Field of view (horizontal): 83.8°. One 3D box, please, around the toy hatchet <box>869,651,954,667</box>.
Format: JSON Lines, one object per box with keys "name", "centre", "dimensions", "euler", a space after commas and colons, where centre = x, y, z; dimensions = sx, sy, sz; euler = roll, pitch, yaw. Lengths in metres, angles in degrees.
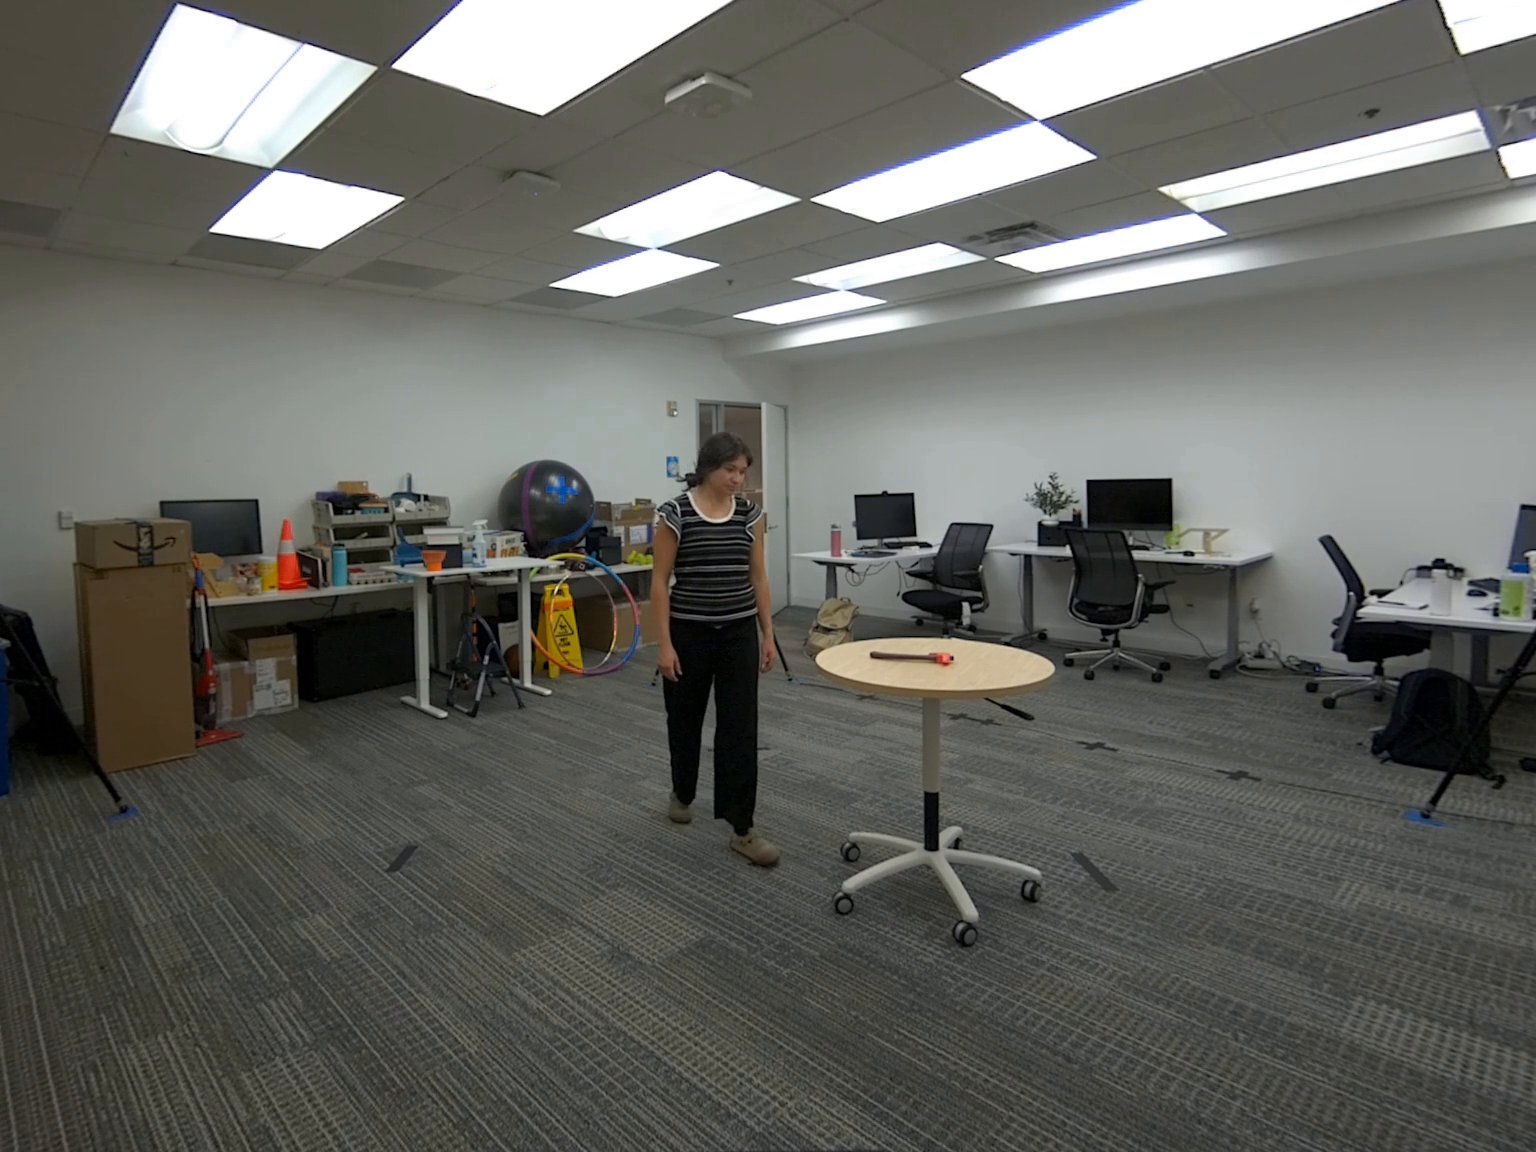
{"name": "toy hatchet", "centre": [0.487, 0.264, 2.862], "dimensions": [0.277, 0.029, 0.128], "euler": [2, 7, 32]}
